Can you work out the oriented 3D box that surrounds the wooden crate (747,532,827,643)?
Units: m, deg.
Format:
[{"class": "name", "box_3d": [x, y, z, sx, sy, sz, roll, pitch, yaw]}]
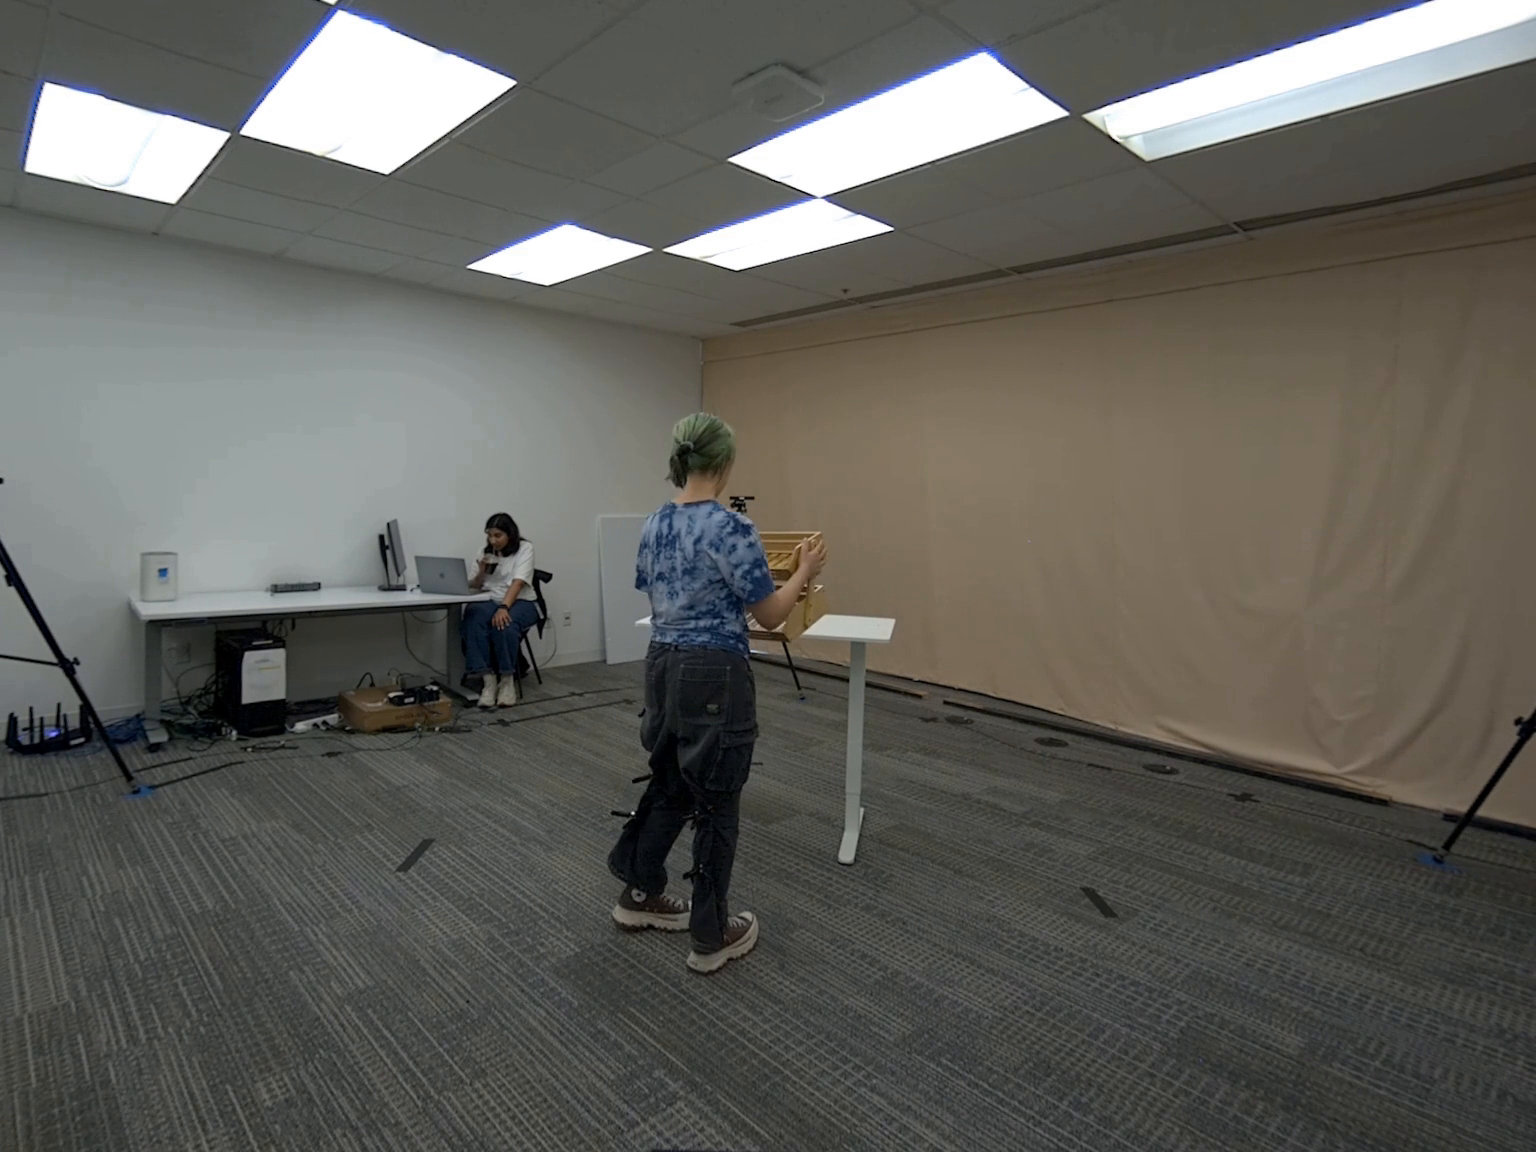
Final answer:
[{"class": "wooden crate", "box_3d": [-0.014, 0.029, 2.738, 0.332, 0.269, 0.299, 1, 22, 38]}]
